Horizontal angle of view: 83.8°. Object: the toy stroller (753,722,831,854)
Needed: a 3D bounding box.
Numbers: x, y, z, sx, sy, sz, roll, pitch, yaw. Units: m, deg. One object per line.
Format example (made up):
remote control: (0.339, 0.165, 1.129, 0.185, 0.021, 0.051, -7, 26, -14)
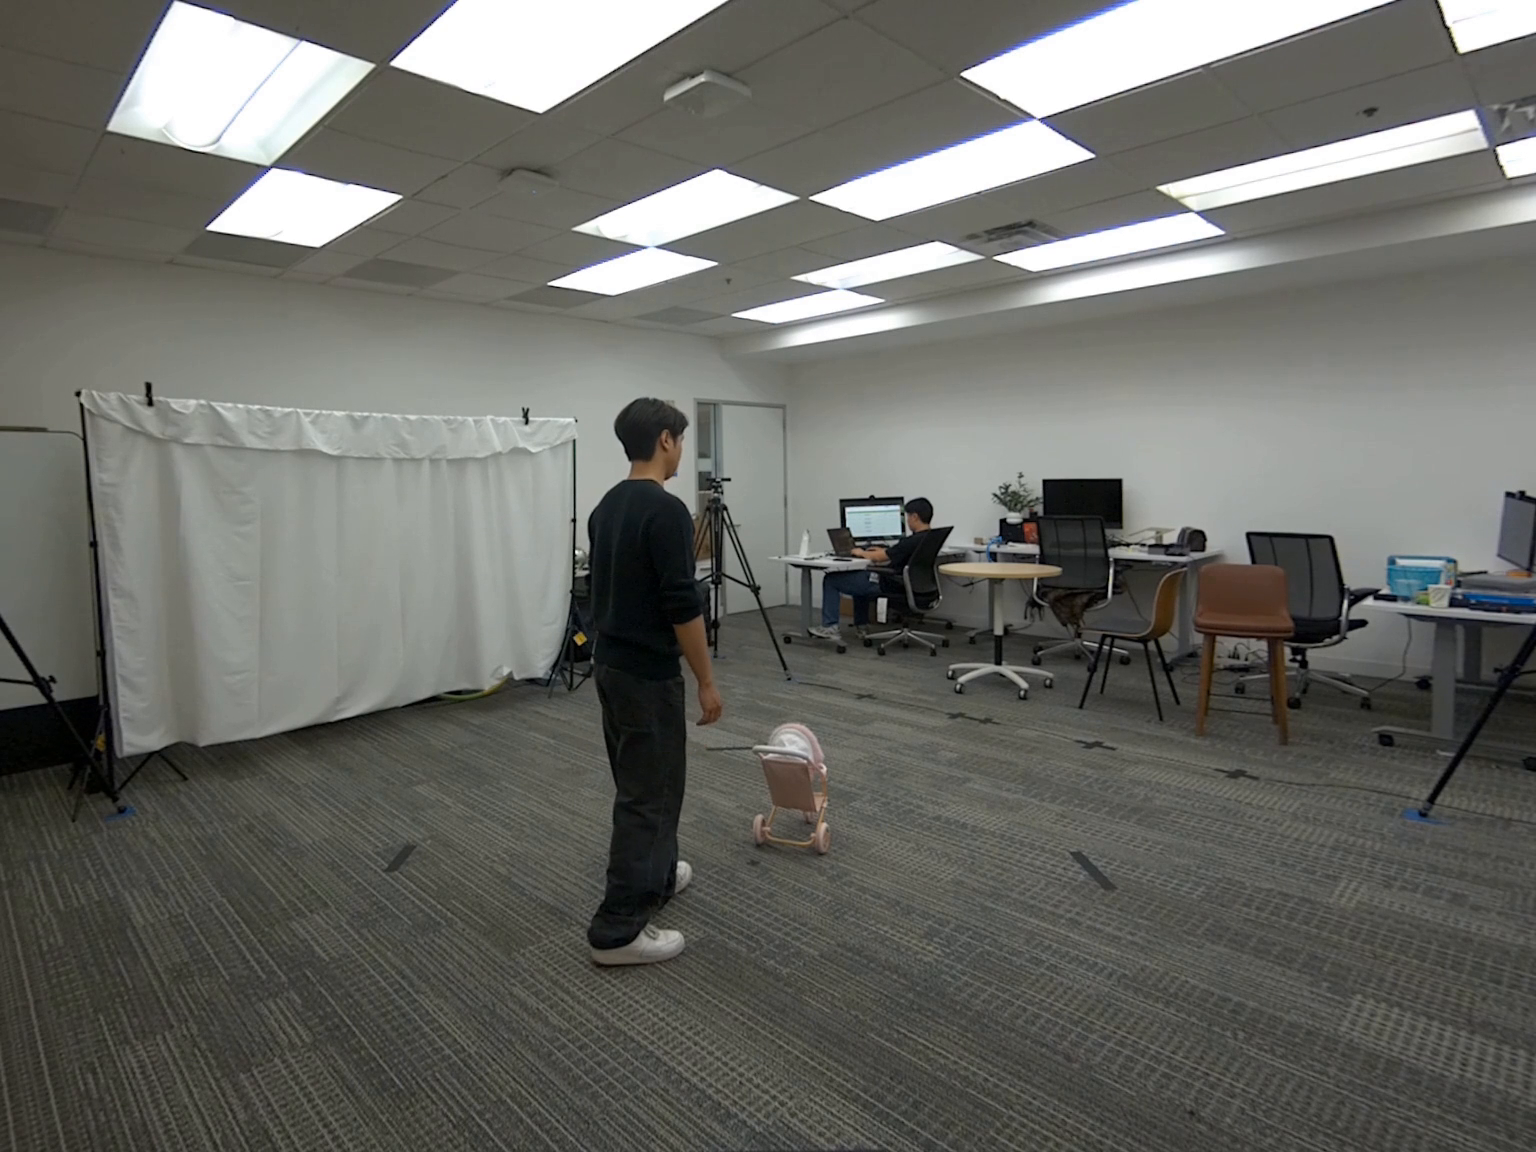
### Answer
toy stroller: (0.108, 0.797, 3.273, 0.288, 0.525, 0.340, 2, 21, 23)
